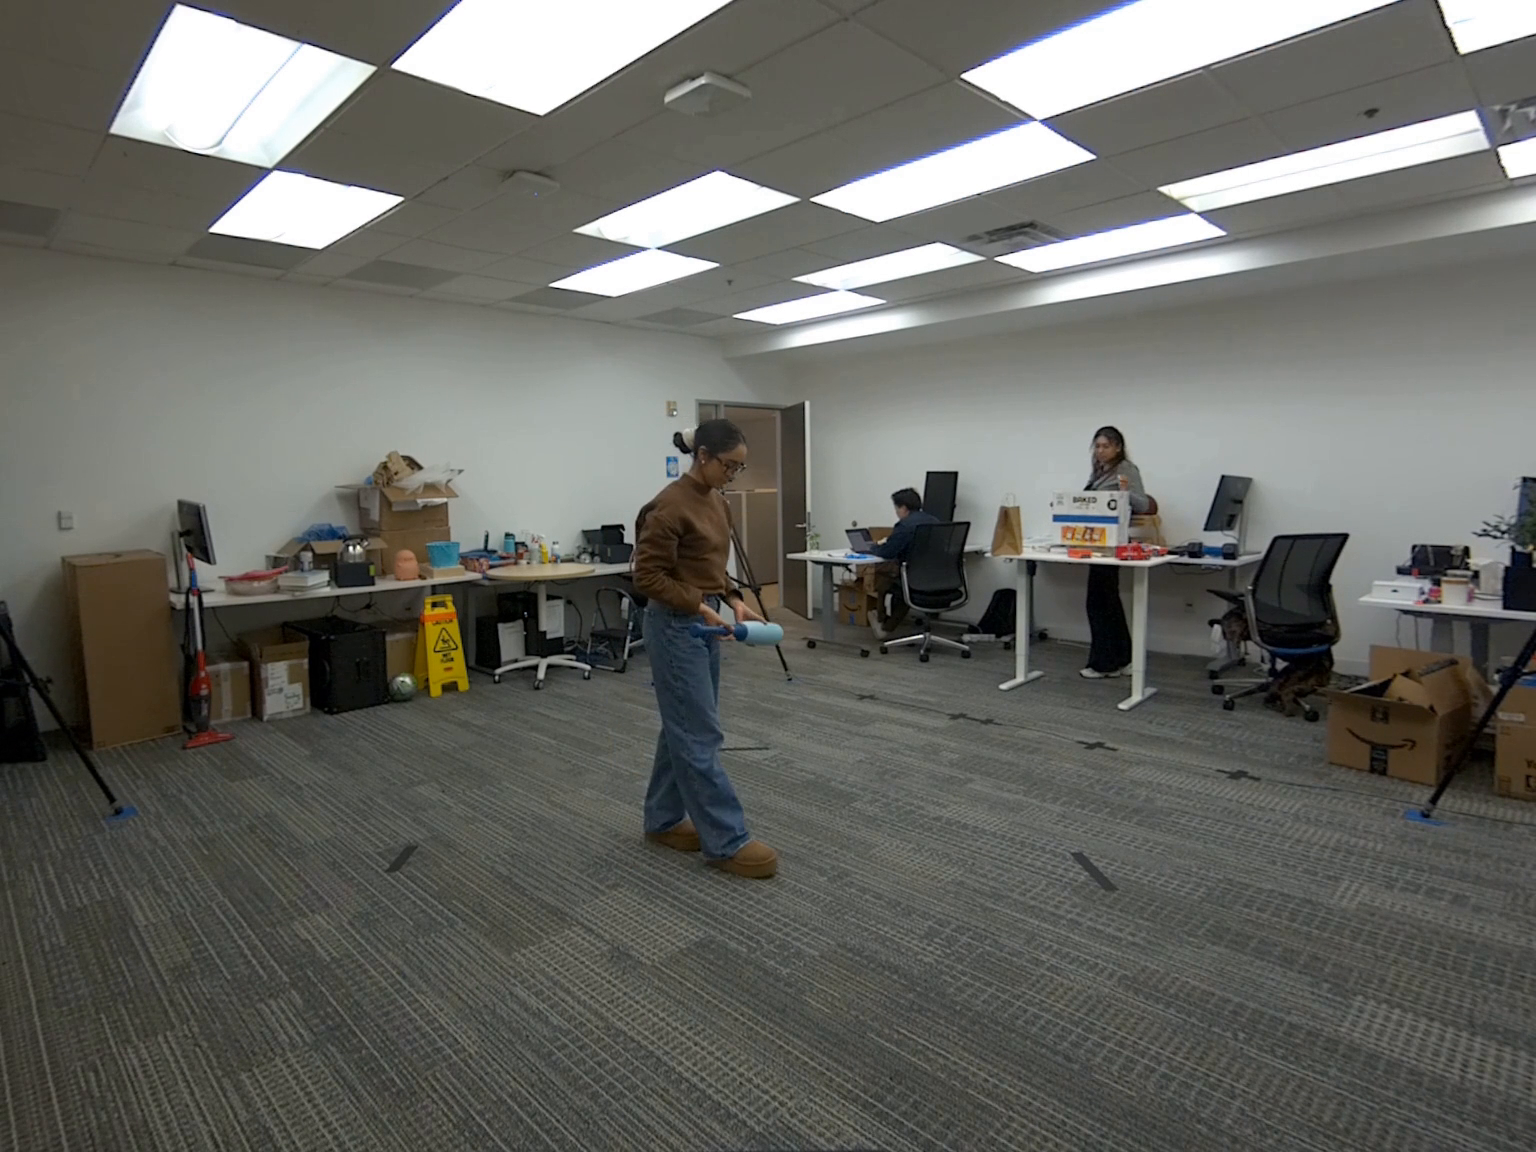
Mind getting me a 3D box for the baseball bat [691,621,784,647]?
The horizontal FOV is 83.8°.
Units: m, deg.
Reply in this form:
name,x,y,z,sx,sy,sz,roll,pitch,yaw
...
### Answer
name,x,y,z,sx,sy,sz,roll,pitch,yaw
baseball bat,-0.114,0.203,3.067,0.091,0.089,0.526,2,-4,32
